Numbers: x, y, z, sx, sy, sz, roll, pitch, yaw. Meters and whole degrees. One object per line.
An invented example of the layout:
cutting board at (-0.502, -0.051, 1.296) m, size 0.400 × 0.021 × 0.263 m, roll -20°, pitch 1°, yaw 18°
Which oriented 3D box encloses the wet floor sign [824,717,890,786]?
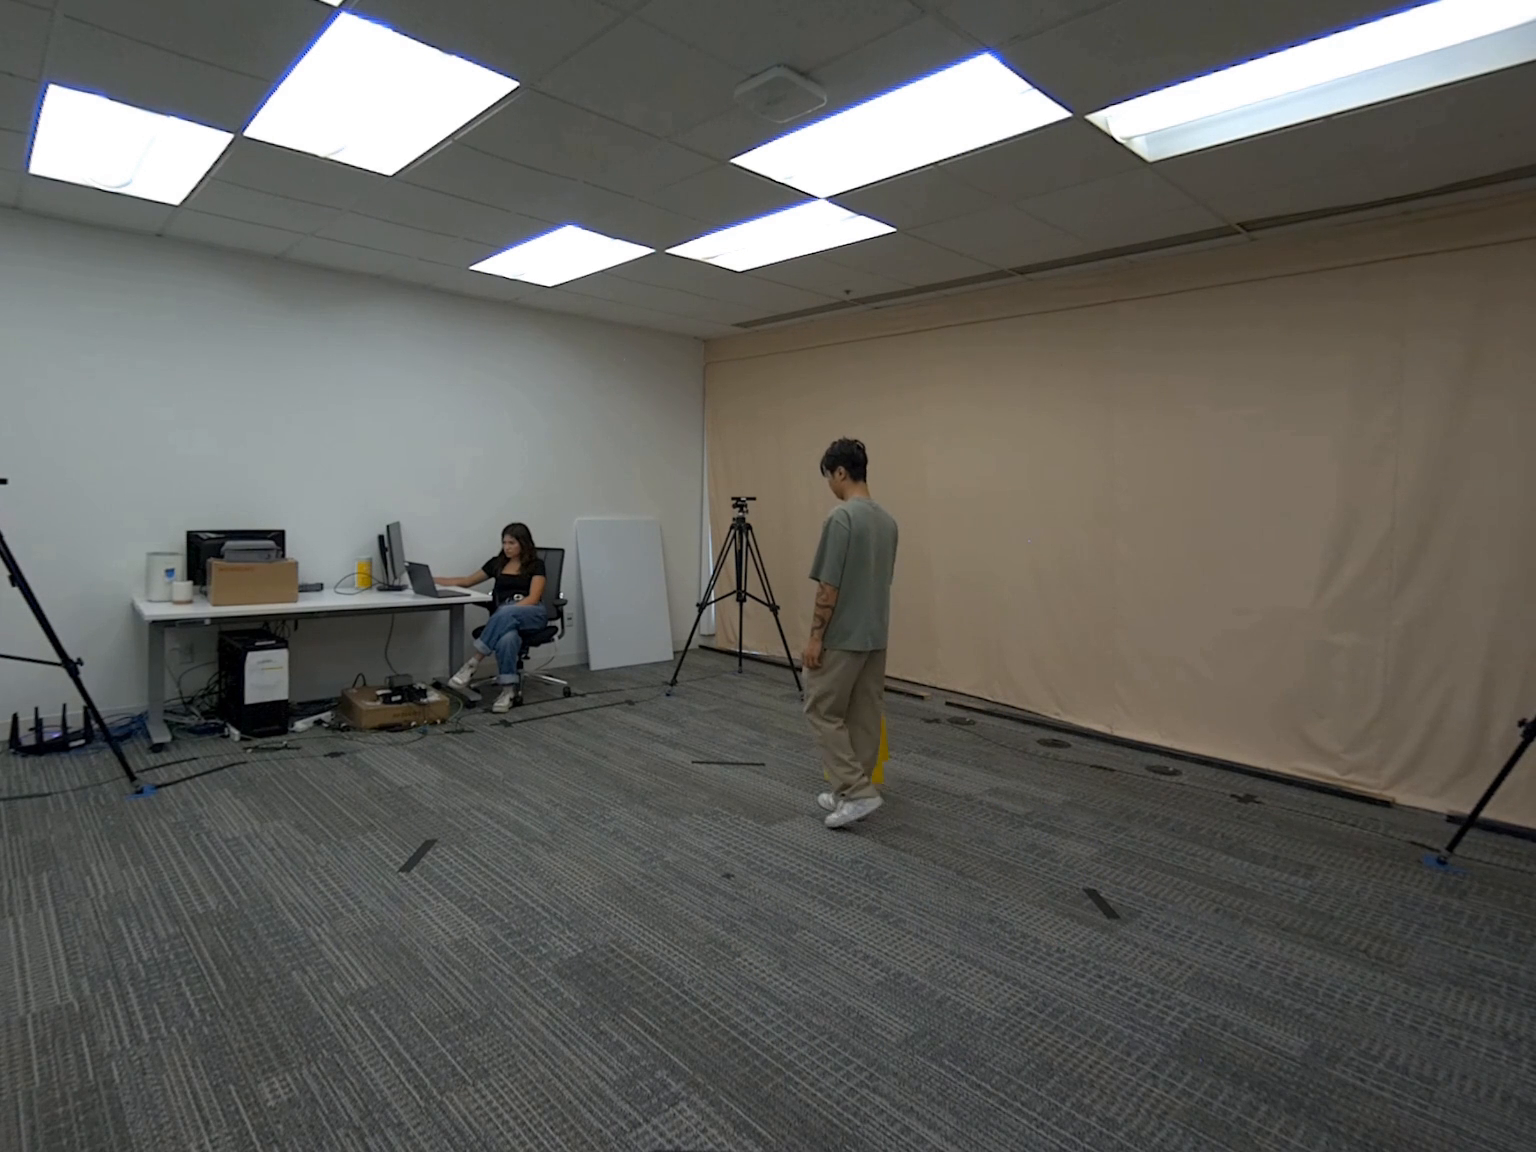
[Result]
wet floor sign at (0.400, 0.625, 3.987) m, size 0.286 × 0.639 × 0.289 m, roll 1°, pitch 13°, yaw 16°
